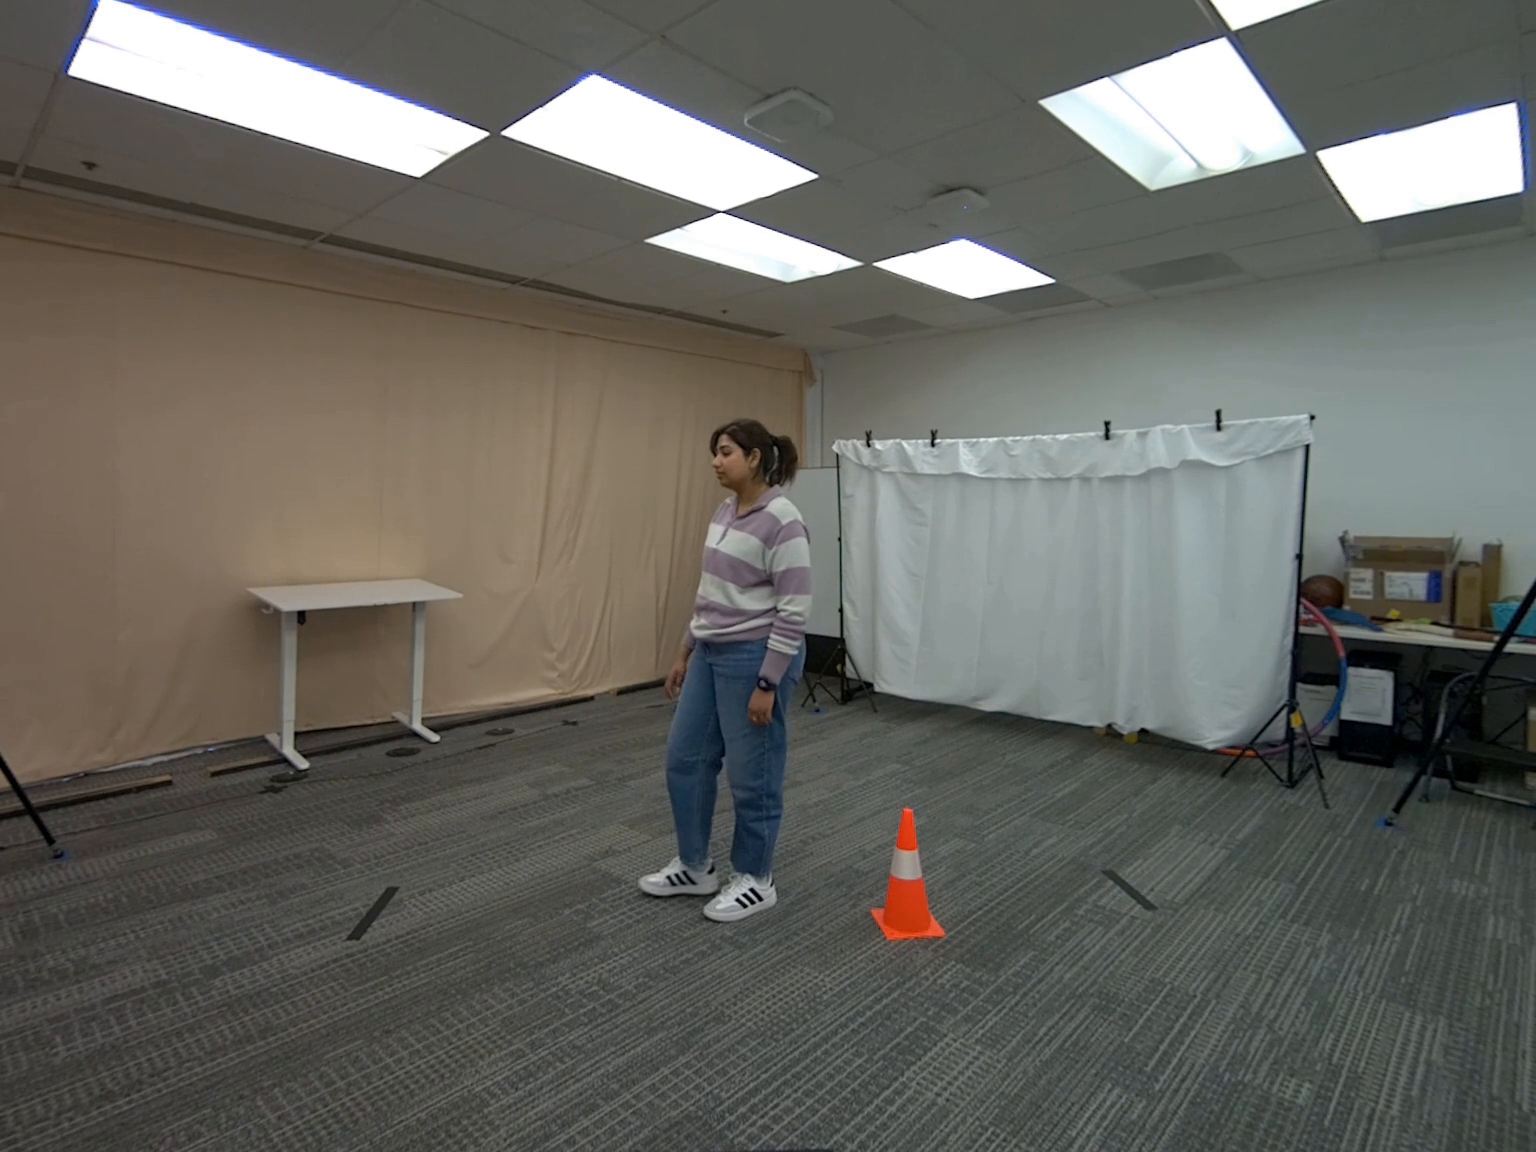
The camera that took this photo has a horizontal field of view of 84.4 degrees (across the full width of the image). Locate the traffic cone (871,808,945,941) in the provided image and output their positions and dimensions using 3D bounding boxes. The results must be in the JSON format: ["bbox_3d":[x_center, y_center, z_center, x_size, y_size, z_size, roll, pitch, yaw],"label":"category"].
[{"bbox_3d":[0.476,0.980,2.783,0.204,0.383,0.205,3,4,0],"label":"traffic cone"}]
